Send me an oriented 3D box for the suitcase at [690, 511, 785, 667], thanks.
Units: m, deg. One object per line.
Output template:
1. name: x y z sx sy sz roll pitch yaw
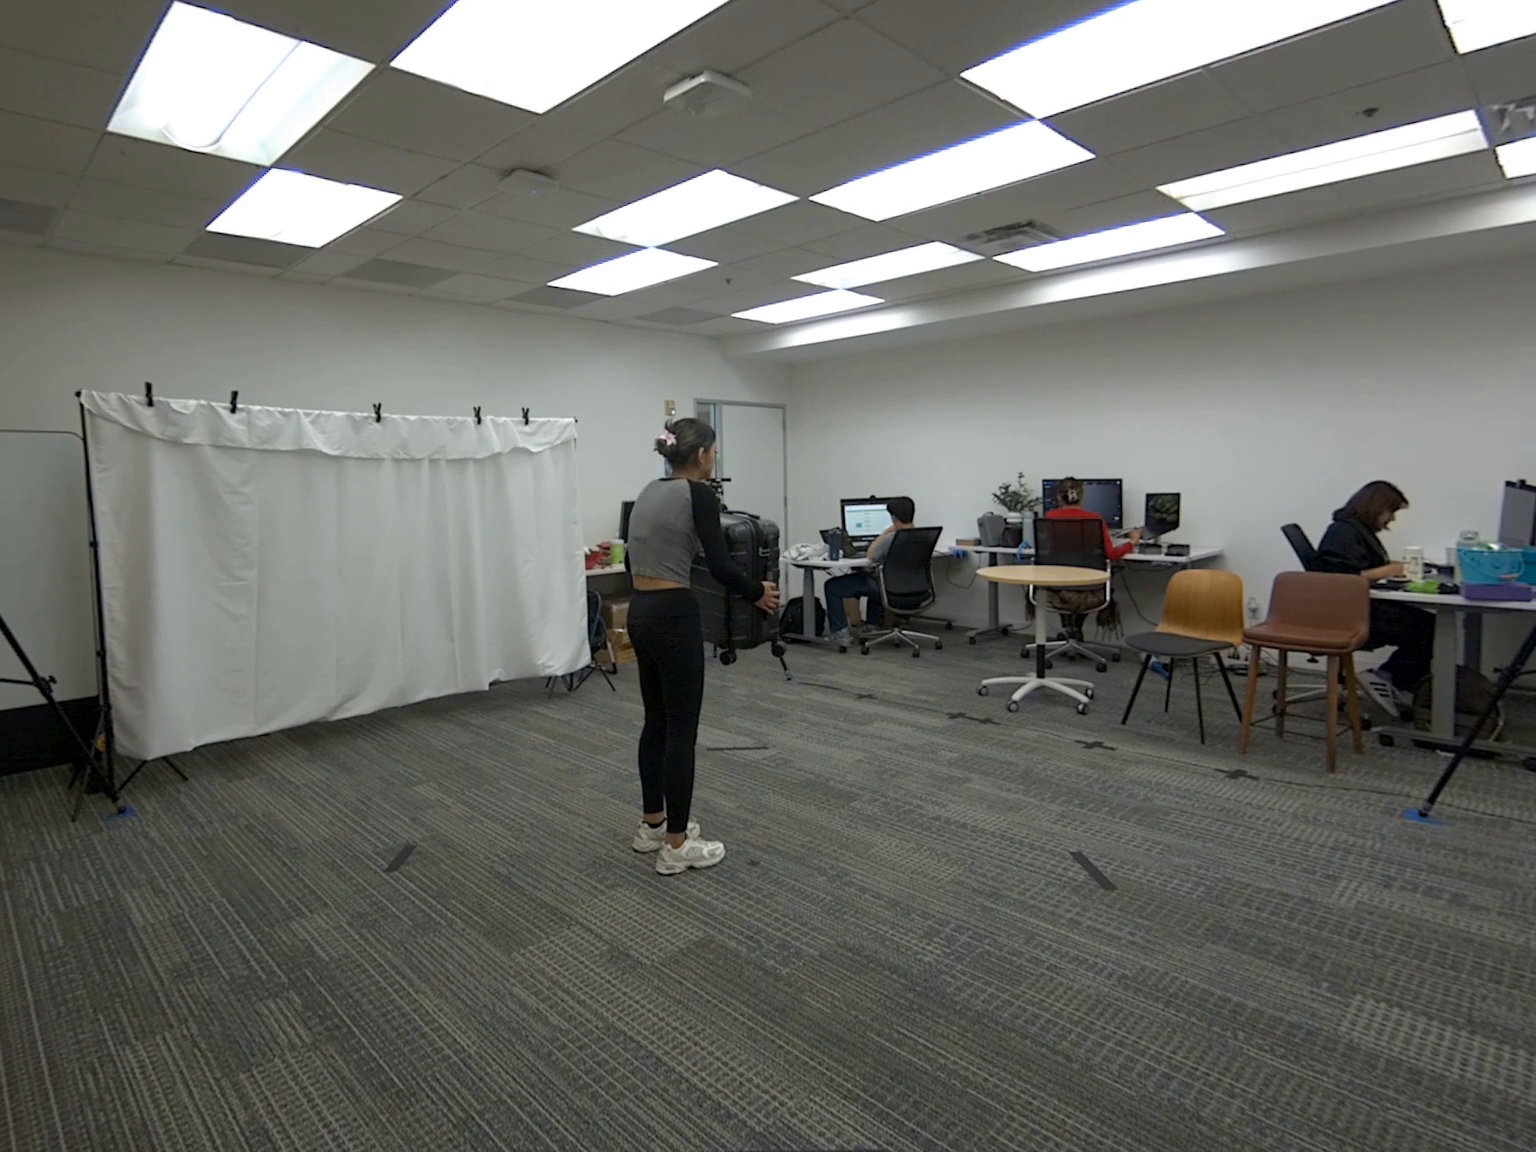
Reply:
1. suitcase: -0.136 0.027 3.352 0.242 0.544 0.388 -7 13 -36
